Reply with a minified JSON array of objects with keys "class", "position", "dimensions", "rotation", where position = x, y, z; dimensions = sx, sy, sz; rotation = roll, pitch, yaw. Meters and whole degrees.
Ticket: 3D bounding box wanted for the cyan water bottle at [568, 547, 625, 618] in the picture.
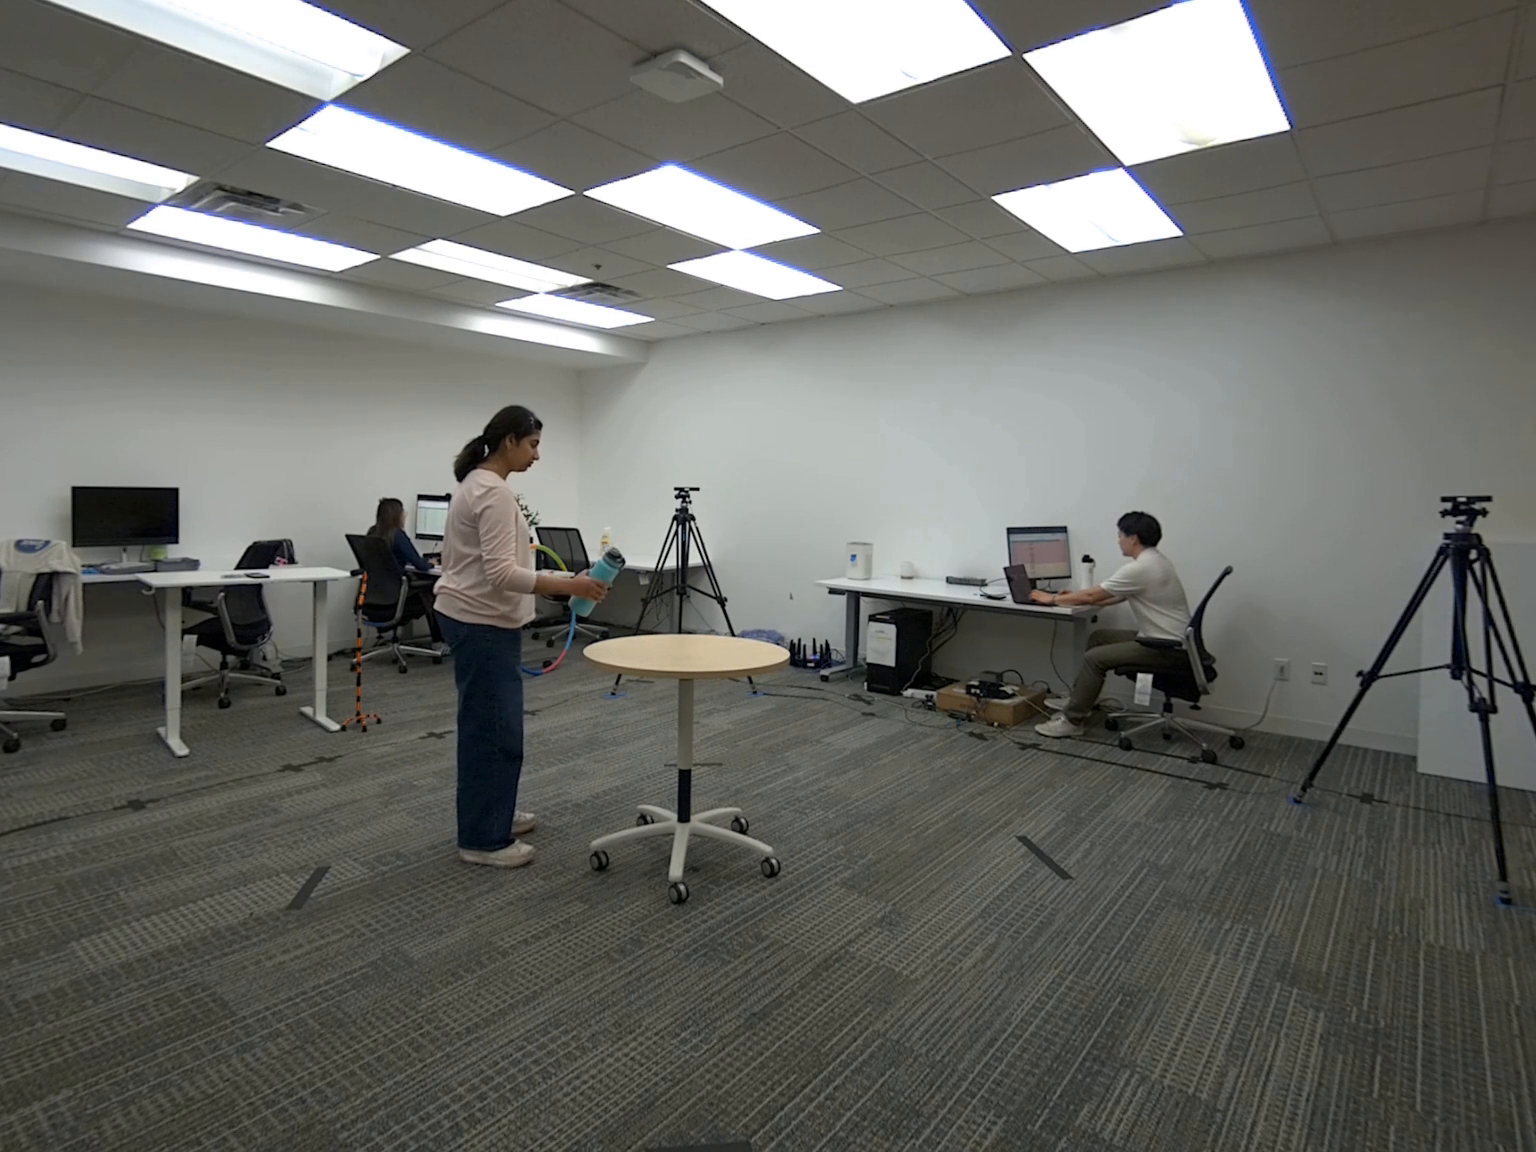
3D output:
[{"class":"cyan water bottle","position":[-0.652,0.023,3.200],"dimensions":[0.091,0.283,0.093],"rotation":[34,10,-9]}]
